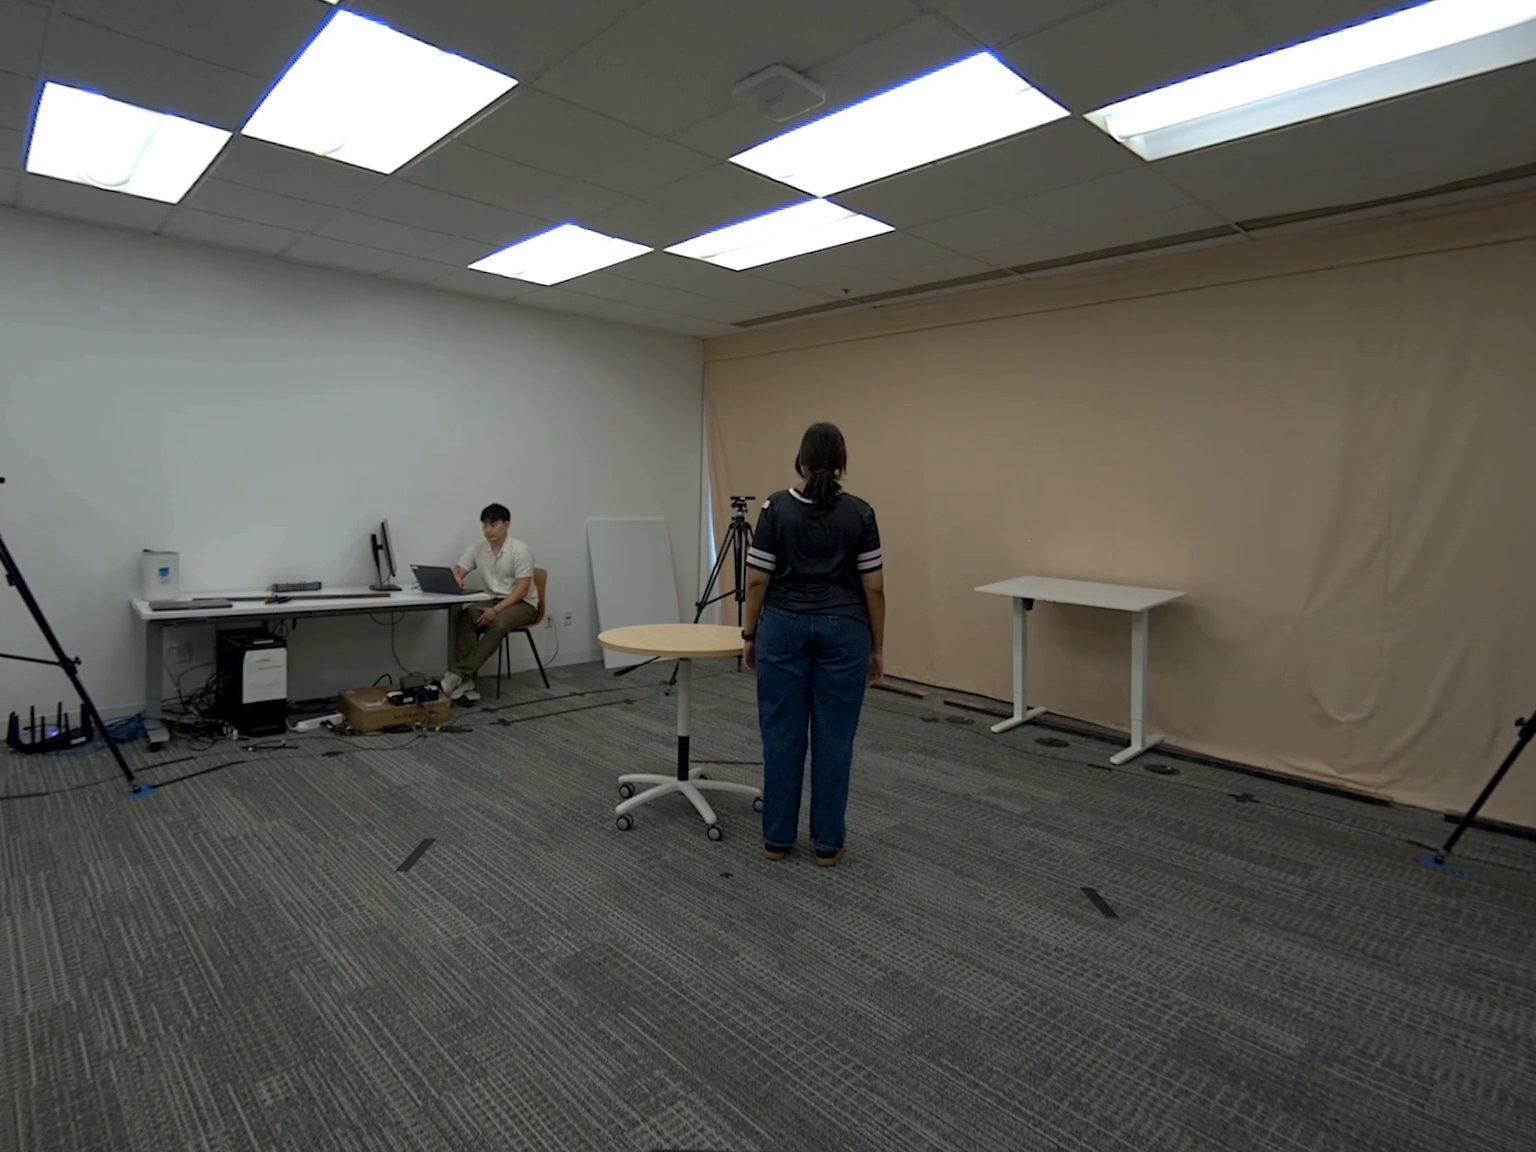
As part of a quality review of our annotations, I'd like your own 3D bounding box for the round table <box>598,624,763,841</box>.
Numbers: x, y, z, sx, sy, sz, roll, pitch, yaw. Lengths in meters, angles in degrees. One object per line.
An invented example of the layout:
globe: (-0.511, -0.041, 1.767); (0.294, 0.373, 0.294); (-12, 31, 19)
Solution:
round table: (-0.364, 0.653, 3.723); (0.784, 0.785, 0.787); (1, 4, -1)
